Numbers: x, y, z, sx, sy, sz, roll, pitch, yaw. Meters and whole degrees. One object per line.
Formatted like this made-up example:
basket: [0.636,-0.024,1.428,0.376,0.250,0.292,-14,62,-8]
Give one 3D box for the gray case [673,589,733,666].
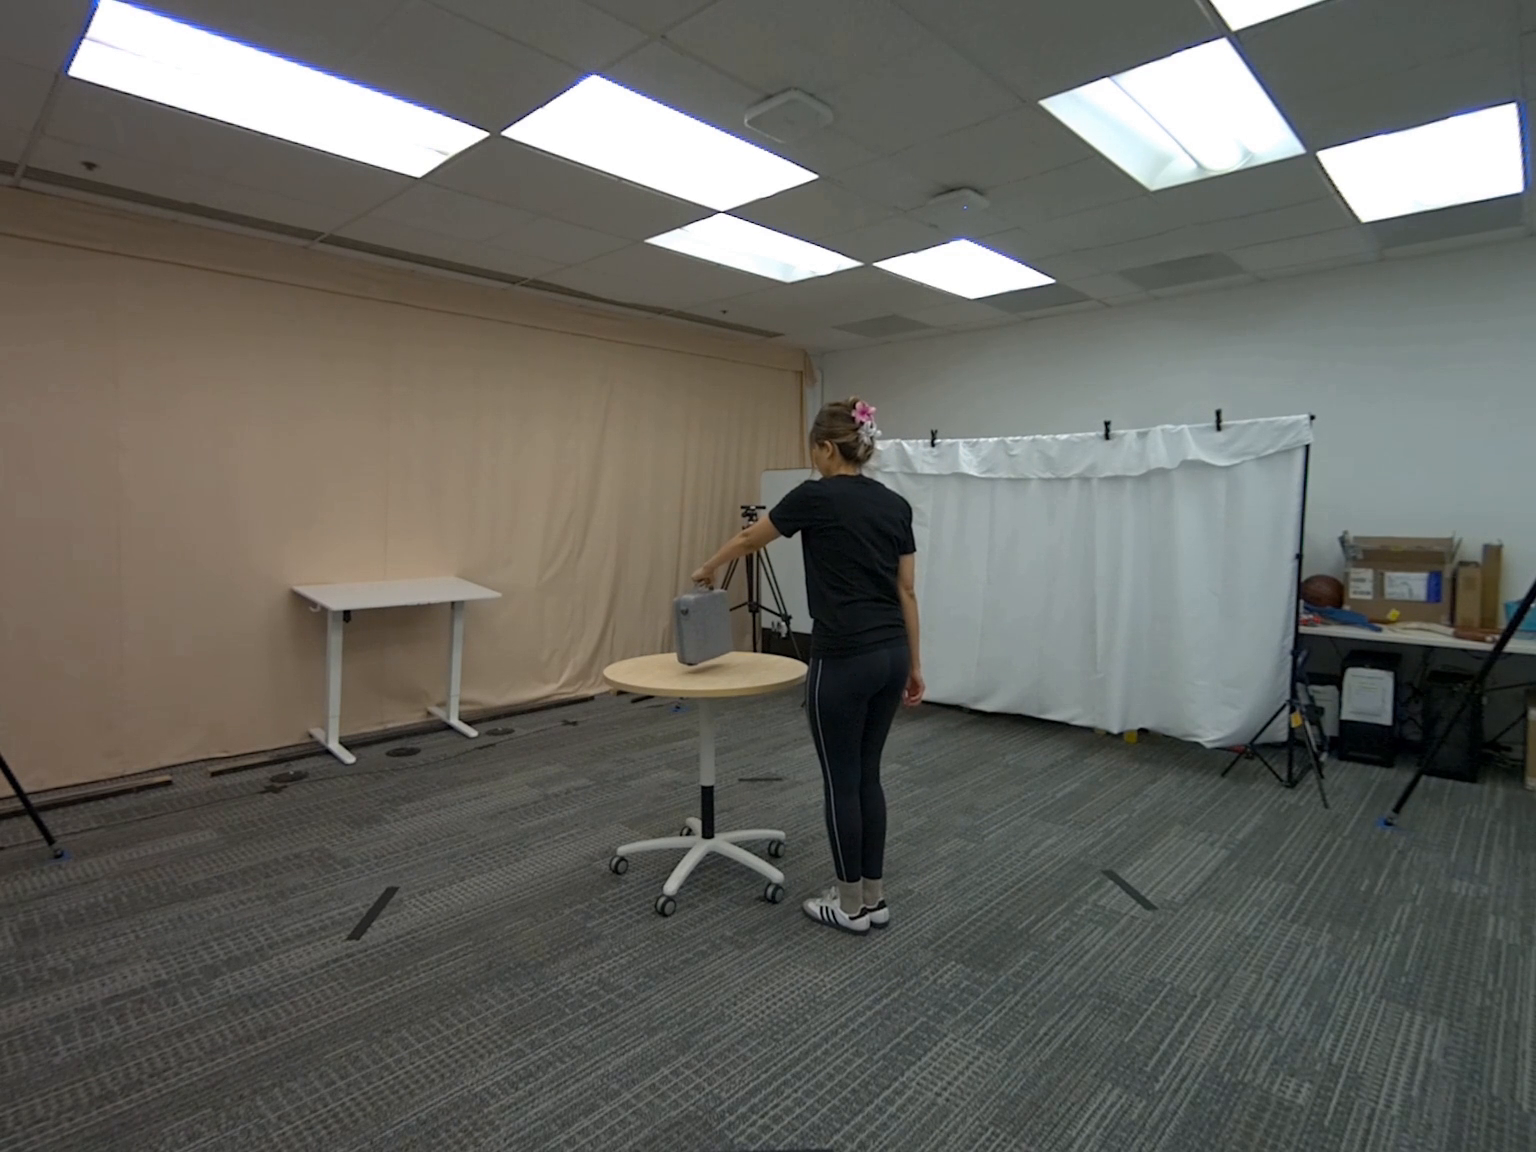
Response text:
gray case: [-0.237,0.181,3.122,0.107,0.260,0.250,0,5,29]
